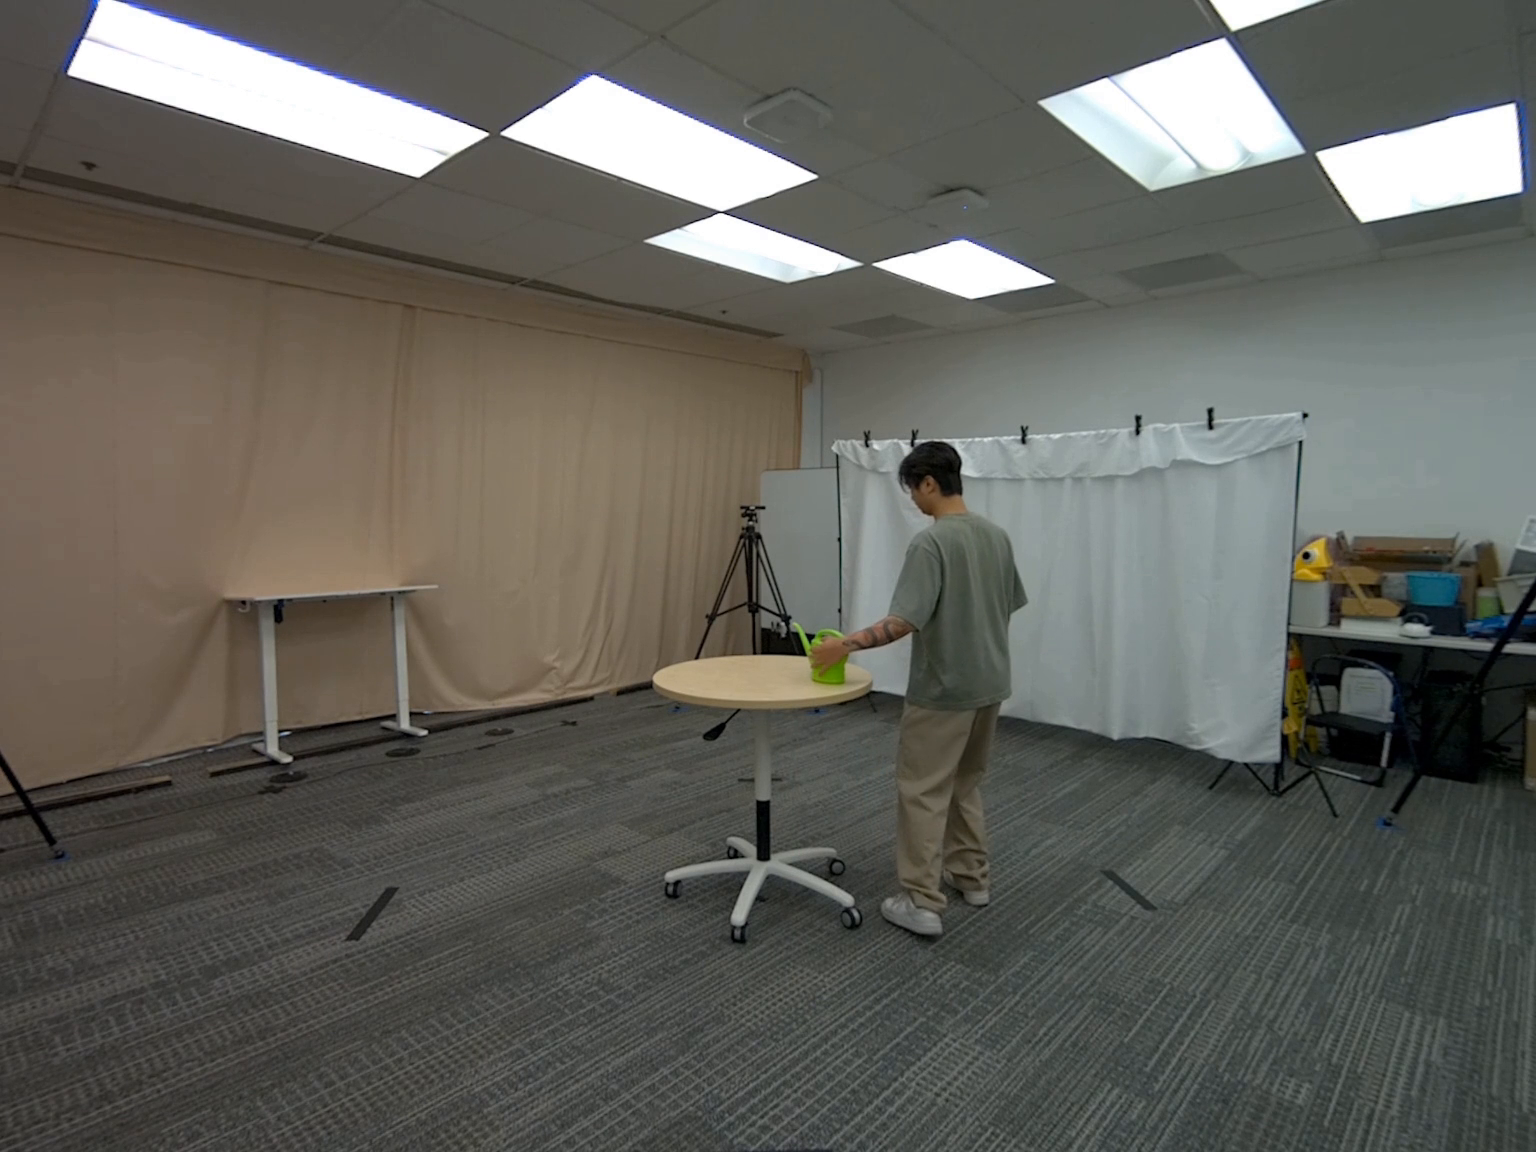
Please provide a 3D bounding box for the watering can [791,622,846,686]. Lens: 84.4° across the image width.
[{"bbox_3d":[0.194,0.269,2.883,0.096,0.176,0.285,0,5,-24],"label":"watering can"}]
